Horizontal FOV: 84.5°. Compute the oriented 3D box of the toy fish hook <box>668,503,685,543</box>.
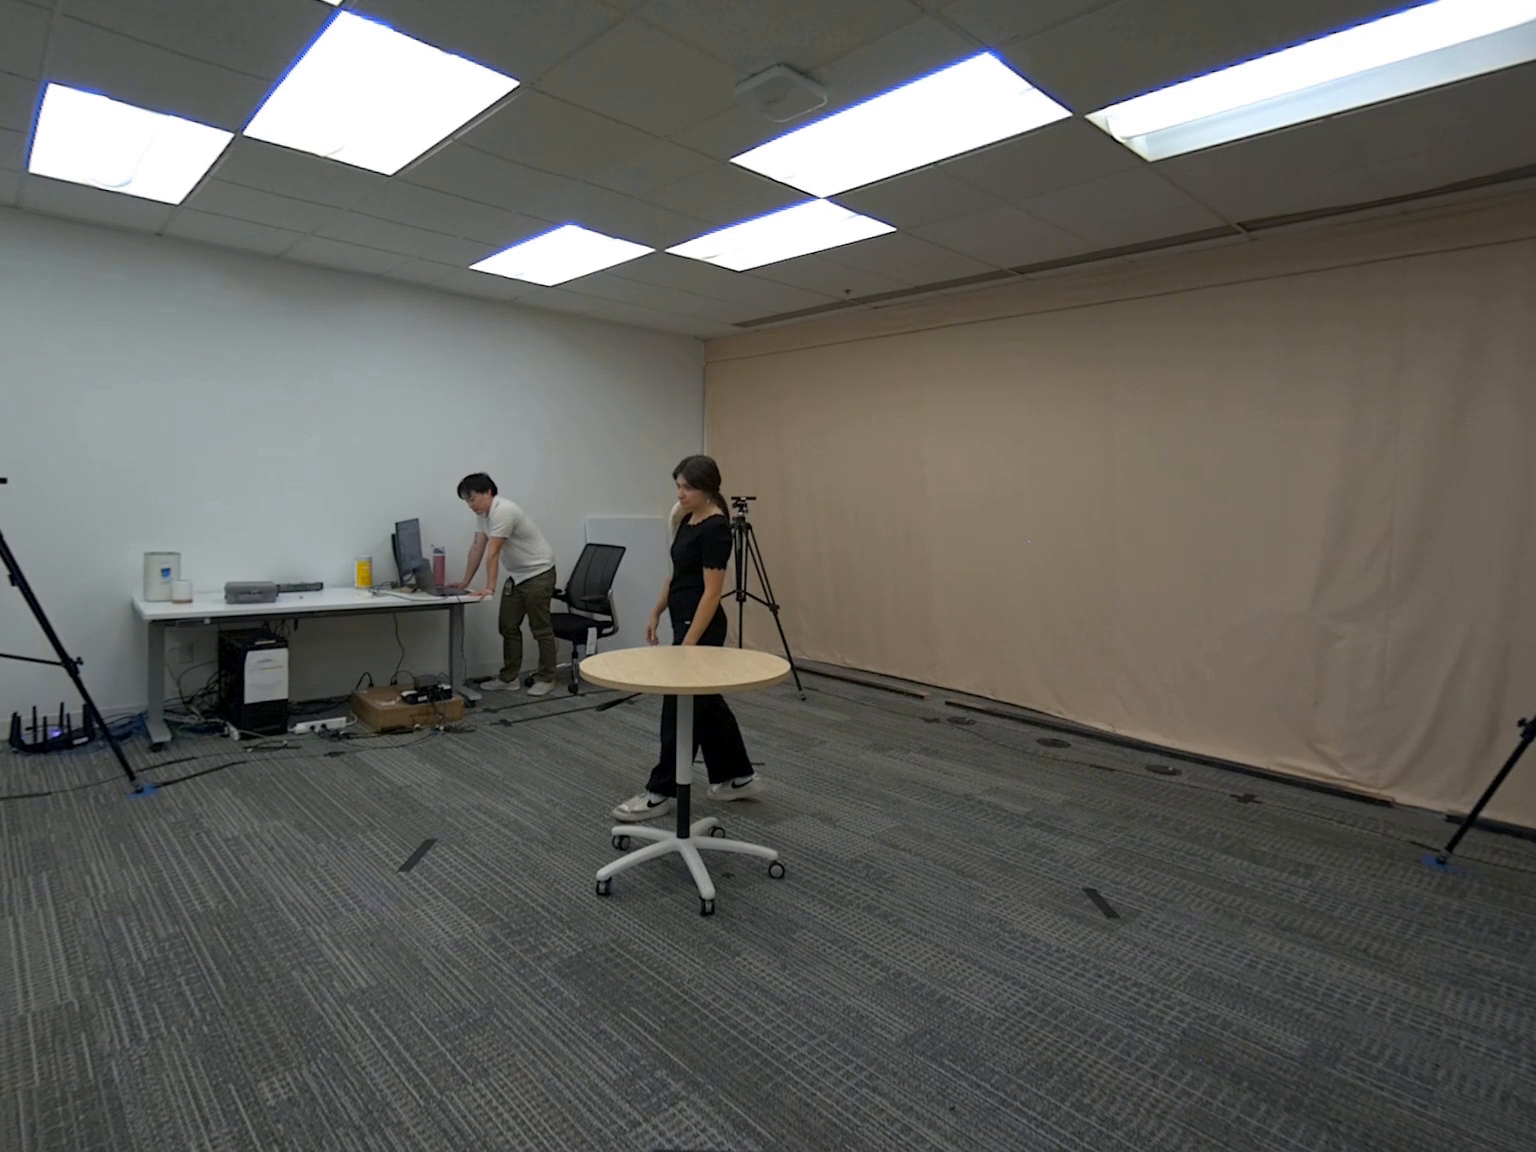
[{"bbox_3d":[-0.335,-0.112,3.886,0.222,0.500,0.049,-10,17,-19],"label":"toy fish hook"}]
